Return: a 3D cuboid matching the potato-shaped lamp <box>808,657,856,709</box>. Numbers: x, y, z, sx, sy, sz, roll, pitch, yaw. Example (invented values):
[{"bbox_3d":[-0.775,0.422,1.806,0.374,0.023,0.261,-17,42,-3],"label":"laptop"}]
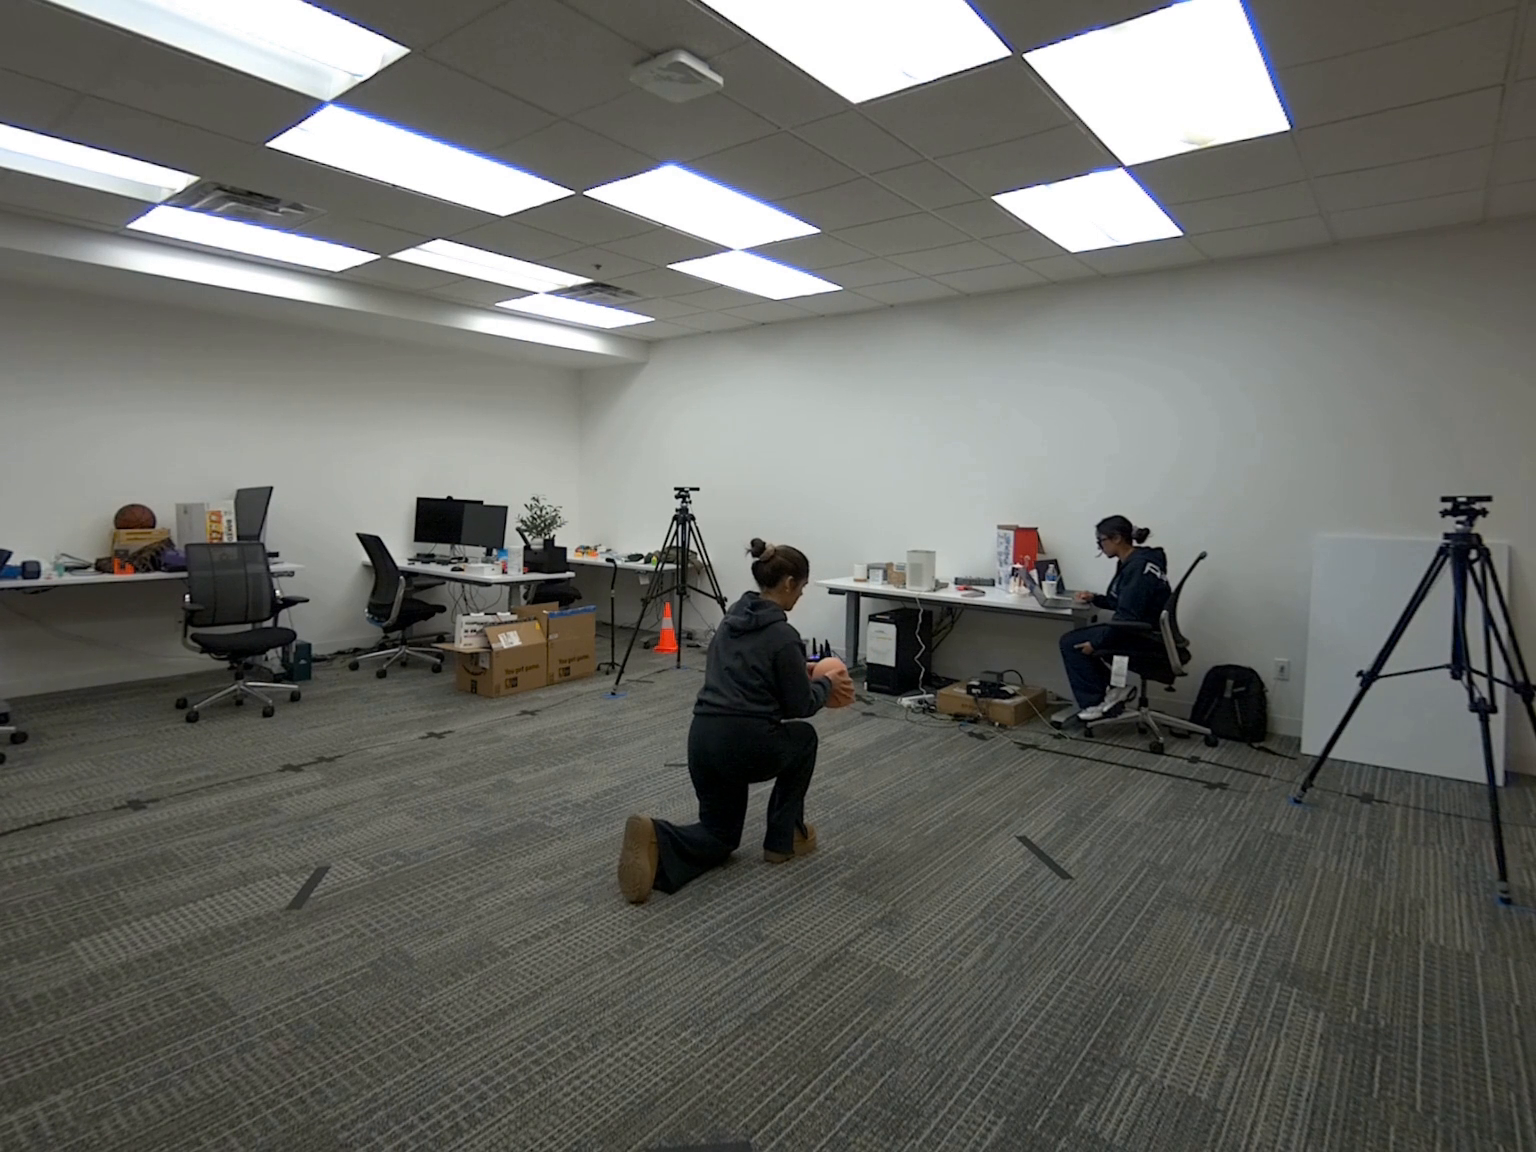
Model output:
[{"bbox_3d":[0.258,0.428,3.436,0.167,0.195,0.171,-11,16,-33],"label":"potato-shaped lamp"}]
